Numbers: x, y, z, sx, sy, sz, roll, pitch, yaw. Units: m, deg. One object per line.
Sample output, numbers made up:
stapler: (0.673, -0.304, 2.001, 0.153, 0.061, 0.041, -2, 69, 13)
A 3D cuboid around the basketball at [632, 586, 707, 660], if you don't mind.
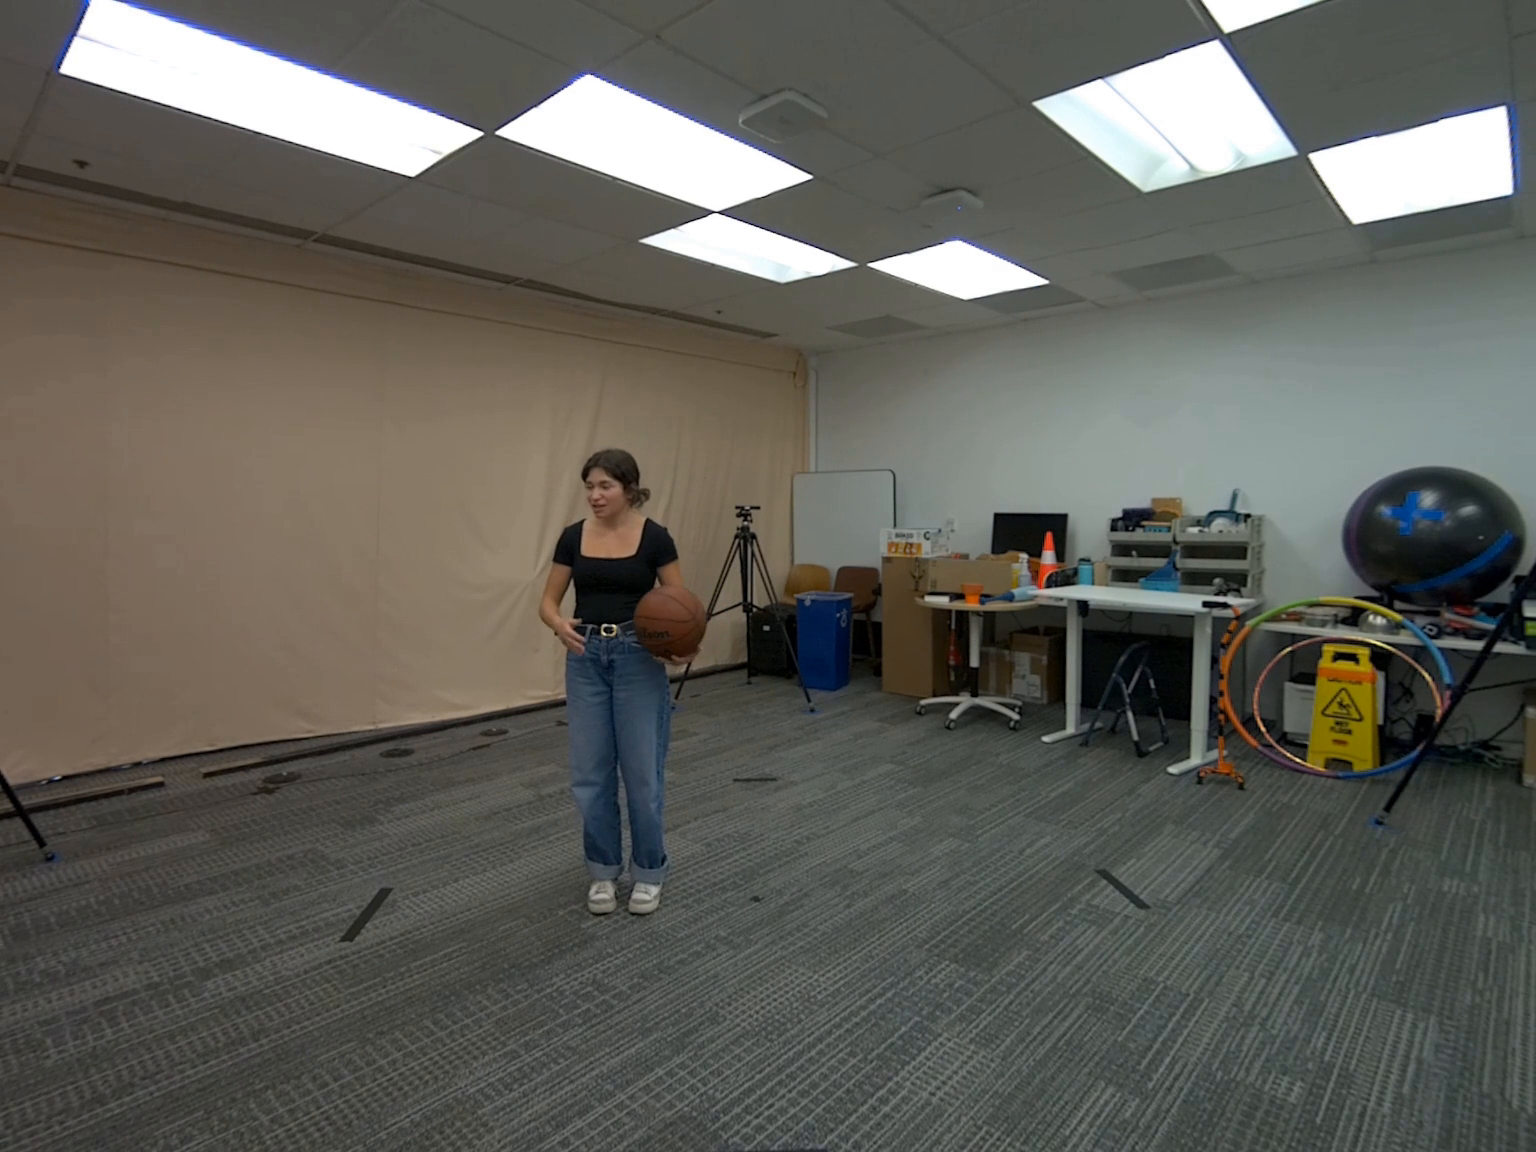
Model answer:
basketball: (-0.317, 0.150, 2.730, 0.236, 0.235, 0.237, 0, 4, -2)
